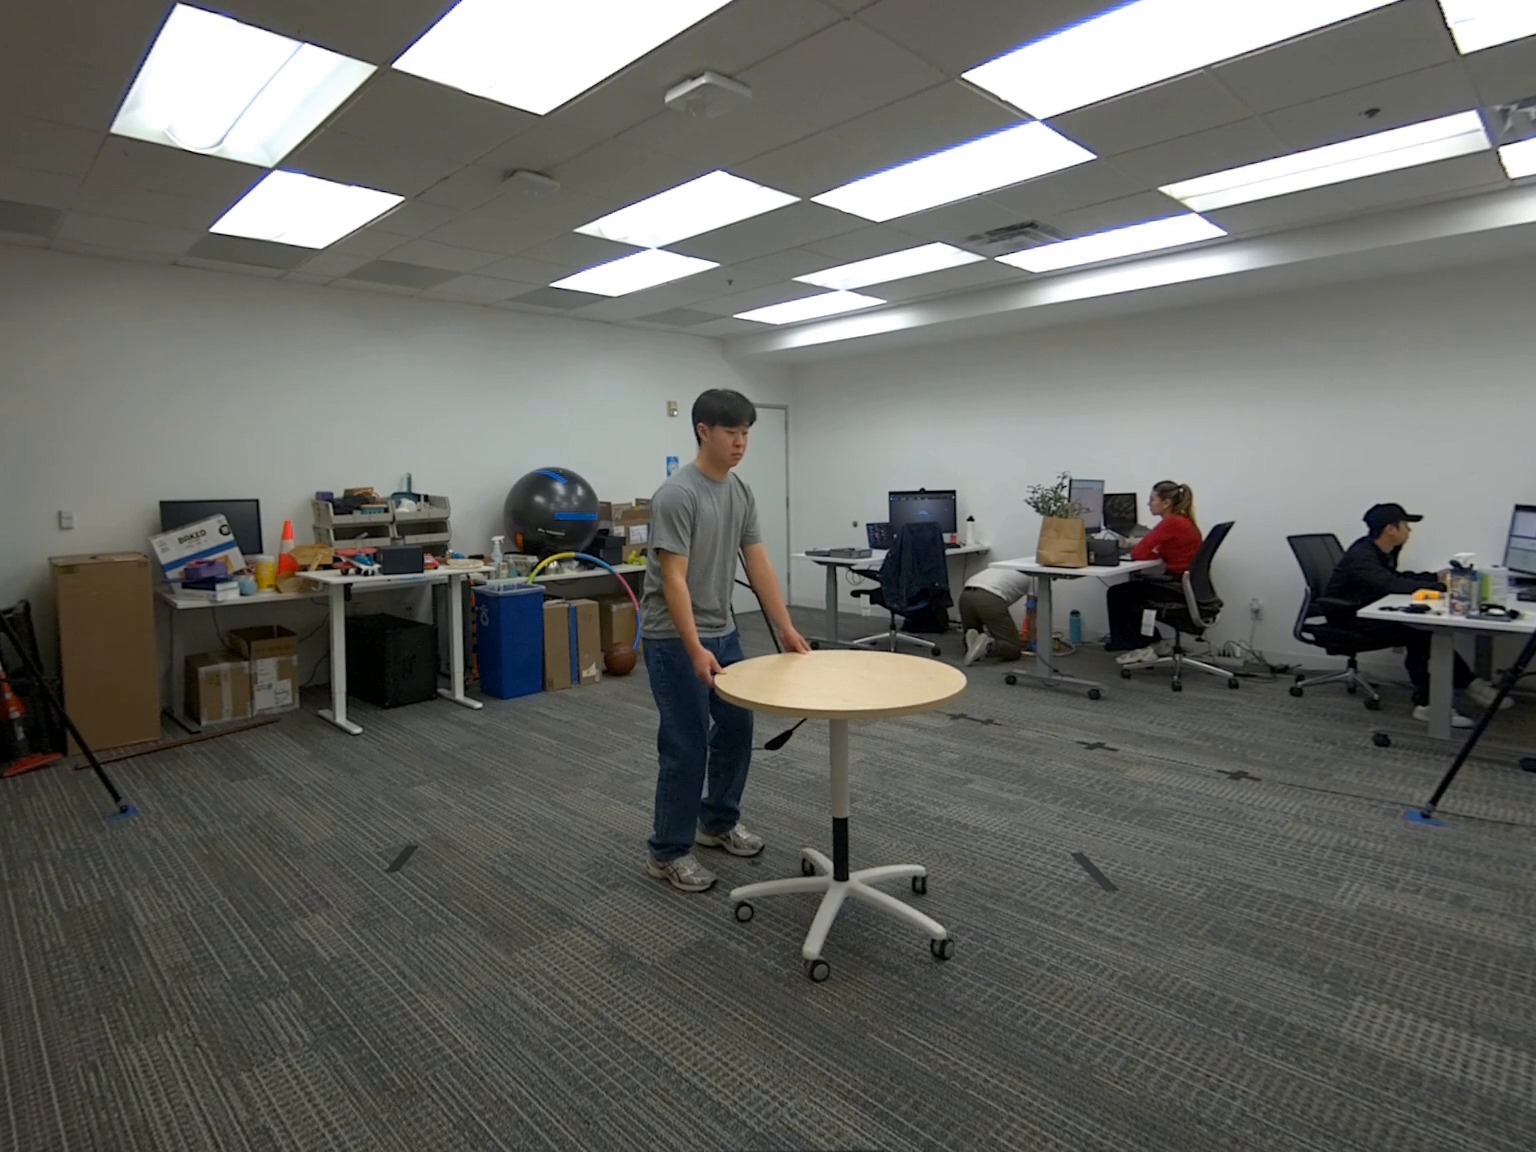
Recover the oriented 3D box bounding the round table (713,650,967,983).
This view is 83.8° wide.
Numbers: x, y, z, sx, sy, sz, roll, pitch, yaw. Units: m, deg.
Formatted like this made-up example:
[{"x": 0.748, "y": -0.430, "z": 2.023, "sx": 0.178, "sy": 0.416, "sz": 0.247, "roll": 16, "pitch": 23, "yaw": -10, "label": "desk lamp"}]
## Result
[{"x": 0.227, "y": 0.701, "z": 2.664, "sx": 0.763, "sy": 0.790, "sz": 0.768, "roll": -1, "pitch": 5, "yaw": -2, "label": "round table"}]
